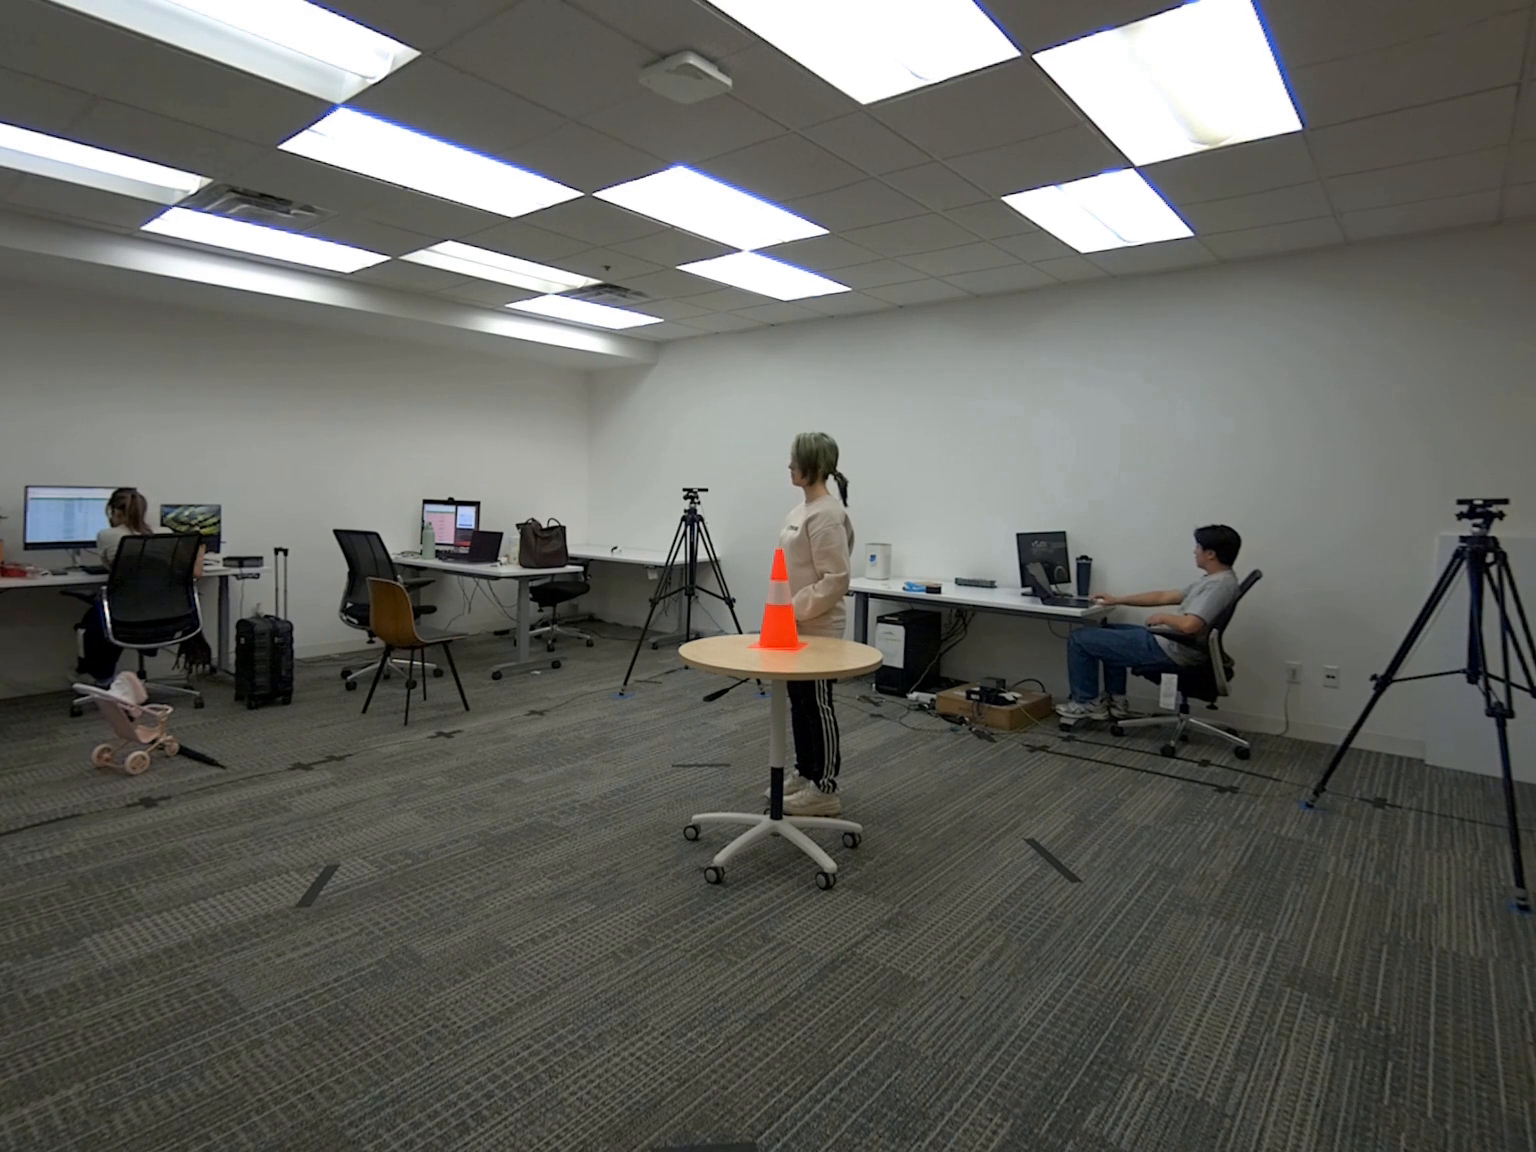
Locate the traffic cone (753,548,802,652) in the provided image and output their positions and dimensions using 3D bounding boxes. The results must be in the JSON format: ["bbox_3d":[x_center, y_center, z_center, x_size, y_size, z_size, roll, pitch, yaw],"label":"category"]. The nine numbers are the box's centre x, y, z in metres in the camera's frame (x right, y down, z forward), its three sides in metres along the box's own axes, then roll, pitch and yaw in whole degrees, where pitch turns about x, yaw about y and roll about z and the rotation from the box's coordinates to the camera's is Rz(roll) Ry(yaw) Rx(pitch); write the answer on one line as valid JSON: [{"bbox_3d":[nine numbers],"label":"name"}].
[{"bbox_3d":[0.034,0.080,3.328,0.197,0.383,0.212,-1,2,-40],"label":"traffic cone"}]
